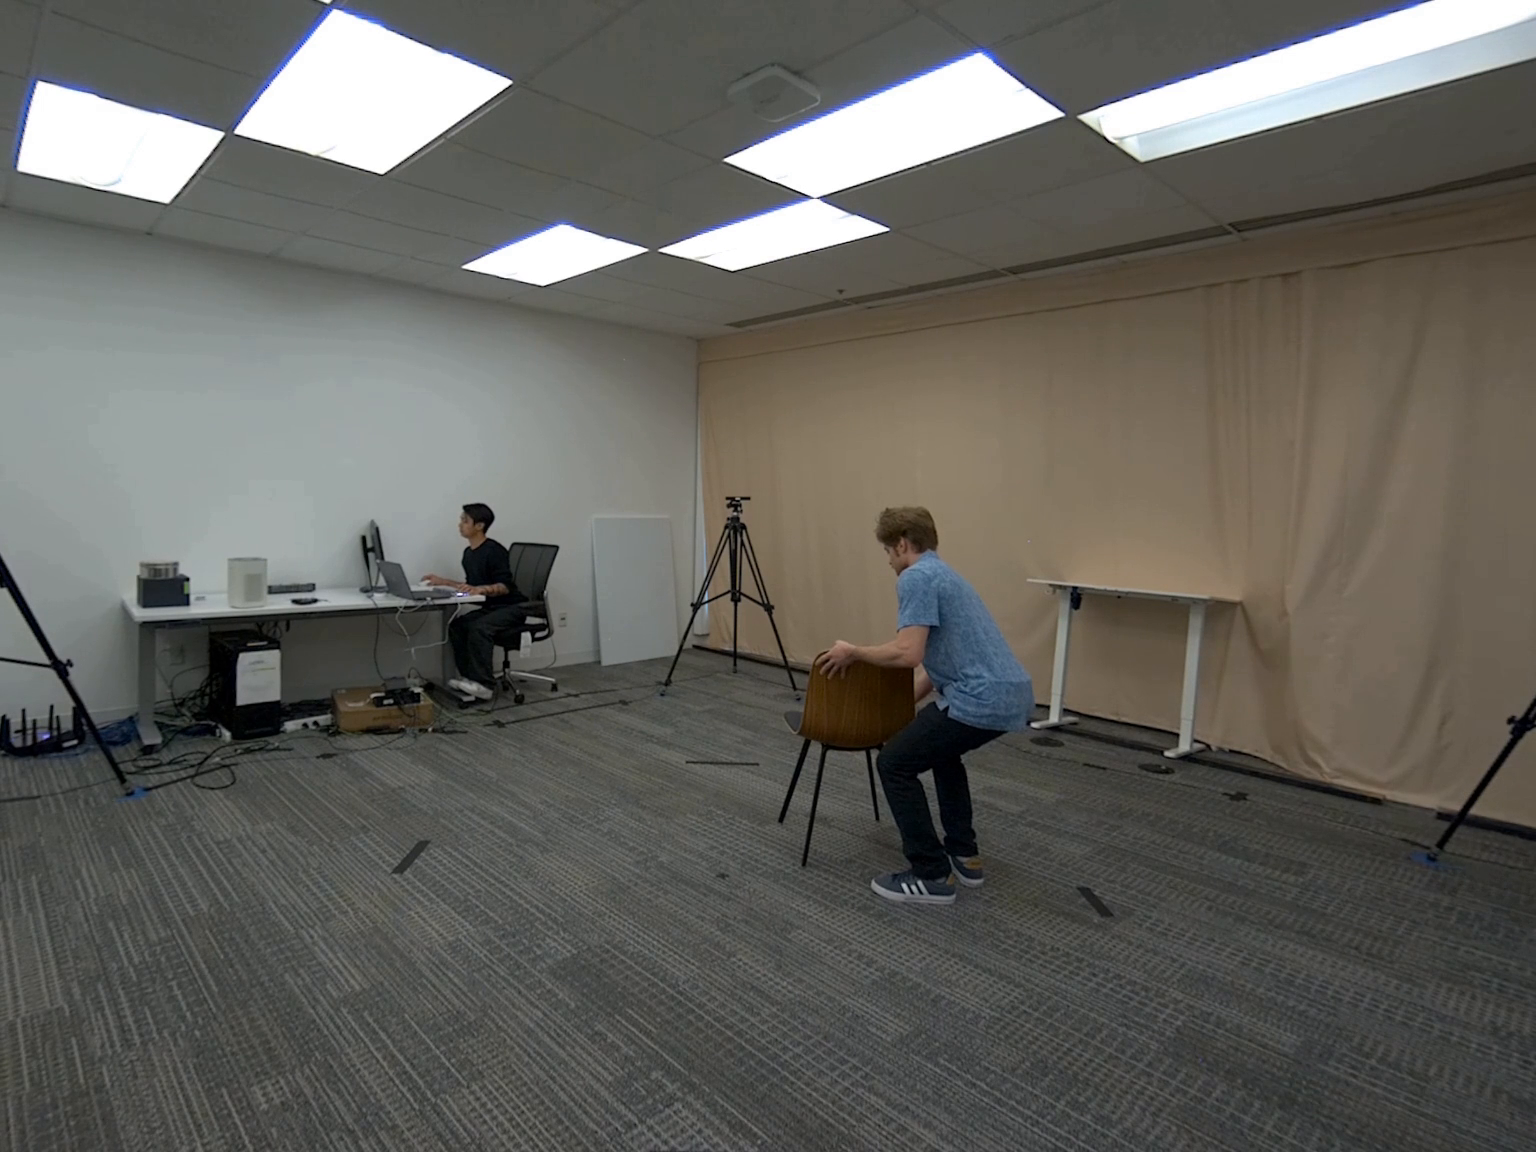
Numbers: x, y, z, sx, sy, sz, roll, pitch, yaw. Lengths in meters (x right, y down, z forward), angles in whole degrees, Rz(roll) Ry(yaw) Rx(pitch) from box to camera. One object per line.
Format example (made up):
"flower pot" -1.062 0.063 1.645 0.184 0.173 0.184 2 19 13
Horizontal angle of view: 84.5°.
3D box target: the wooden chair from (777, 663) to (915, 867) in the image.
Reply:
"wooden chair" 0.303 0.657 3.426 0.474 0.873 0.530 1 7 -11
